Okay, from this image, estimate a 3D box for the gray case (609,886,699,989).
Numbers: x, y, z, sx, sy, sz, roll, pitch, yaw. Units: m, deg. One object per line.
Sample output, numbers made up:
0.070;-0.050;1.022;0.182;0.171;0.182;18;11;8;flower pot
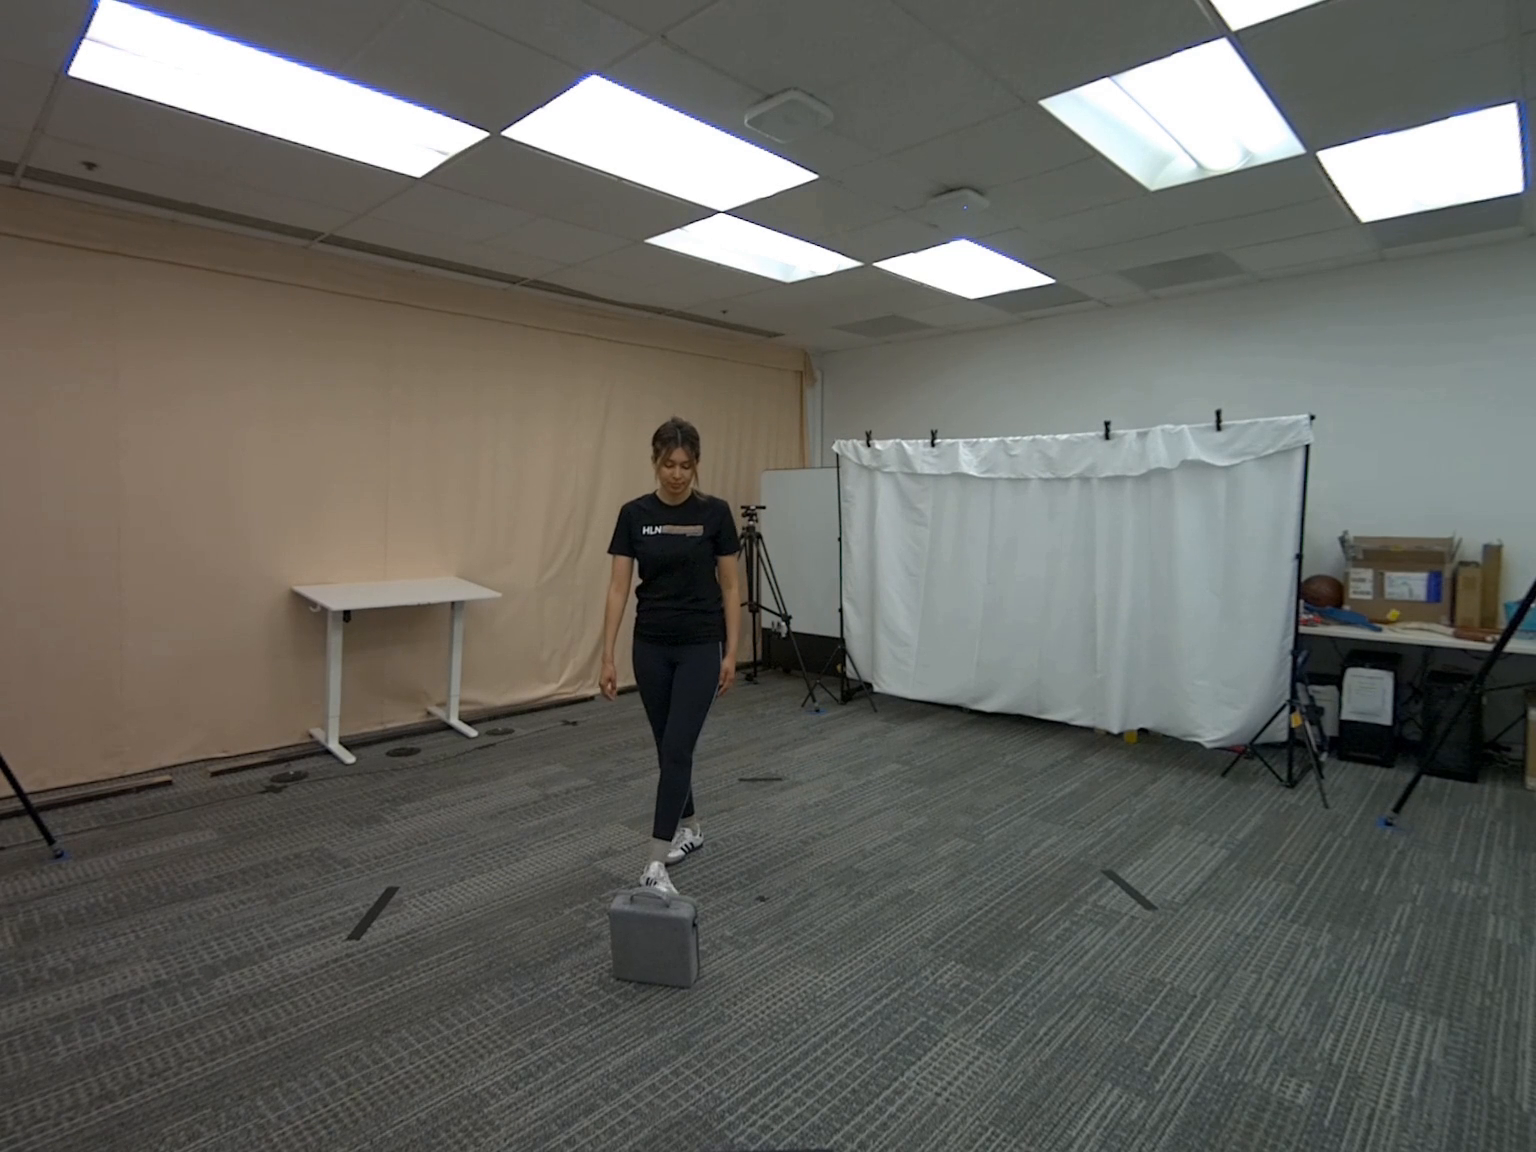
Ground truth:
-0.326;1.062;2.459;0.260;0.258;0.104;-1;15;13;gray case
